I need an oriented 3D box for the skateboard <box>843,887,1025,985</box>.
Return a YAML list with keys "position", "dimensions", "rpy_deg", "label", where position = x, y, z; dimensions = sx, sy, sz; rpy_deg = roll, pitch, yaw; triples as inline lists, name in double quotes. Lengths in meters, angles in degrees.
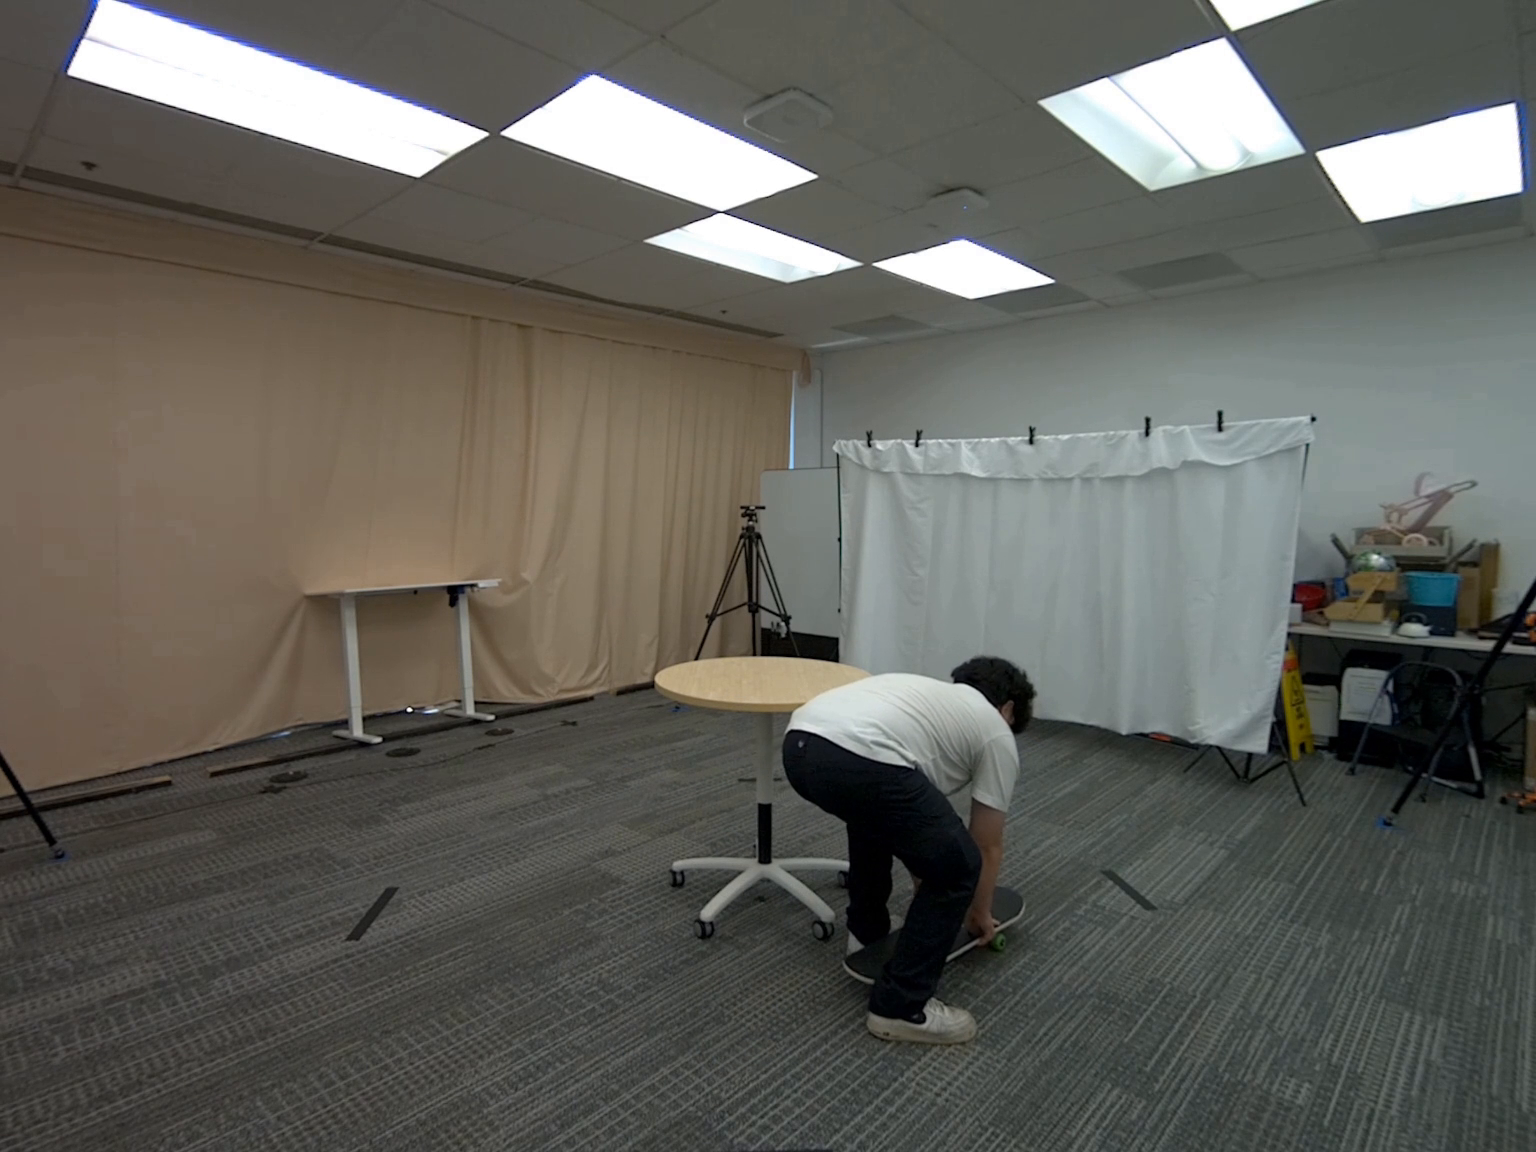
- position: [0.531, 1.124, 2.563]
  dimensions: [0.762, 0.110, 0.200]
  rpy_deg: [-4, 6, -41]
  label: "skateboard"
